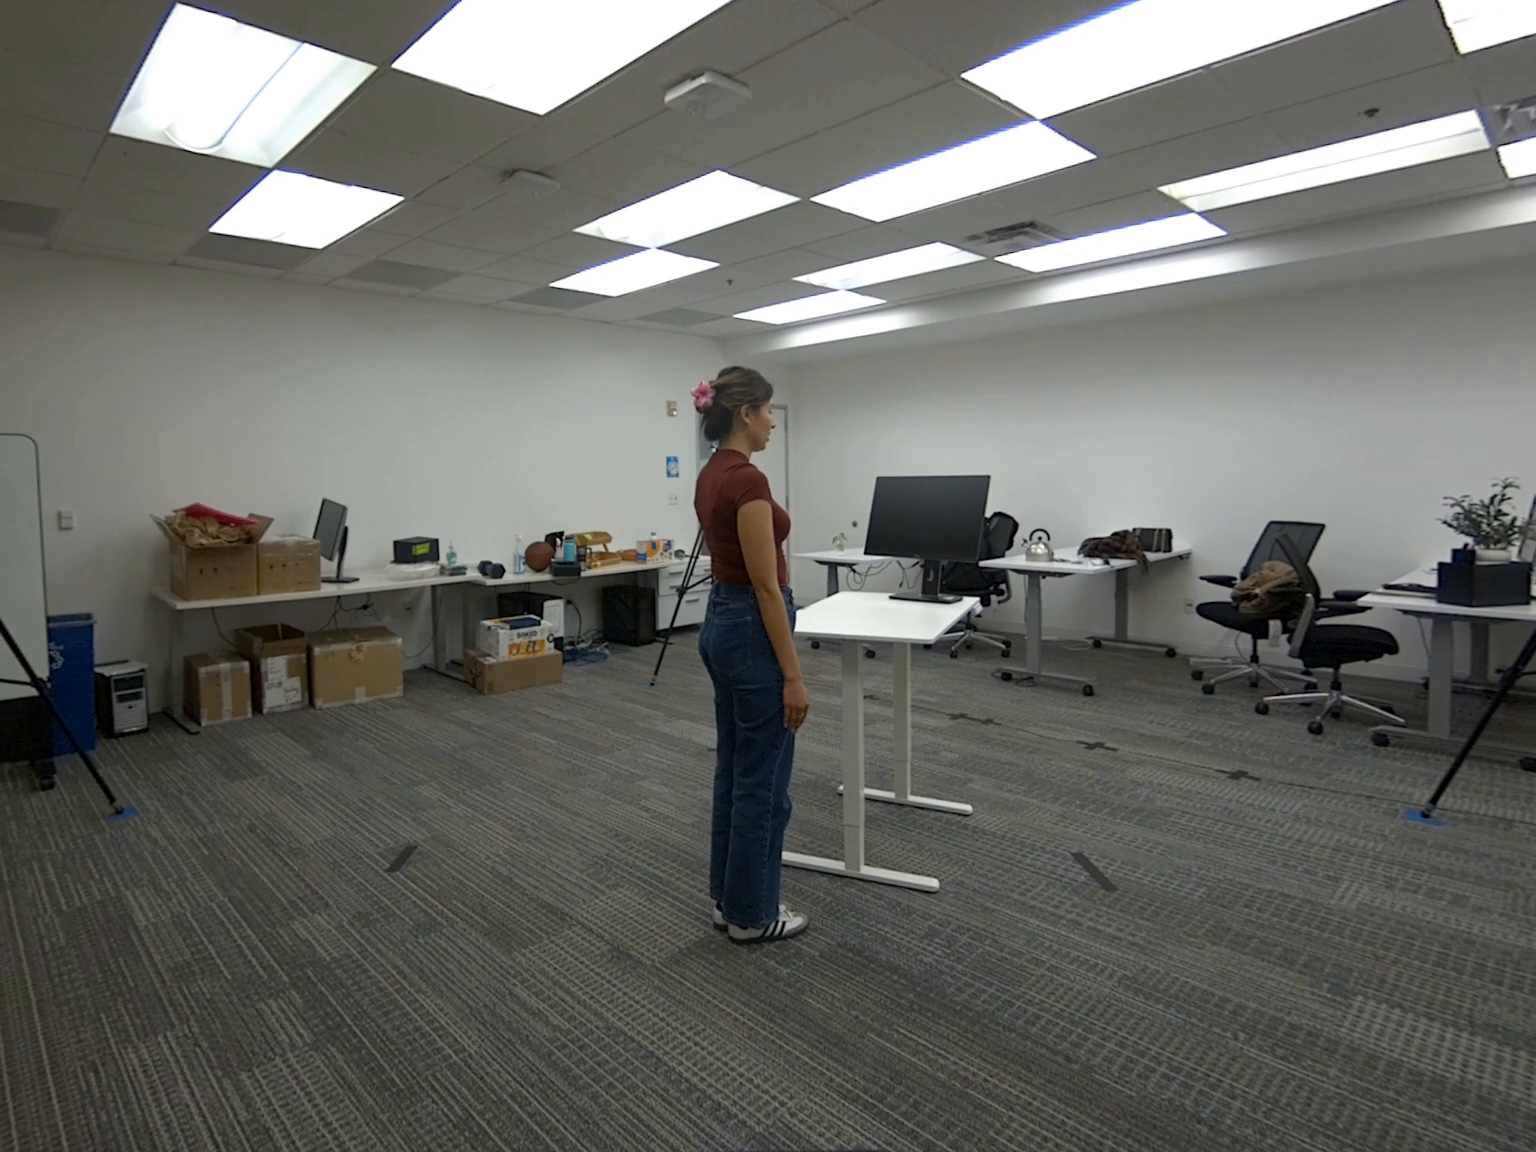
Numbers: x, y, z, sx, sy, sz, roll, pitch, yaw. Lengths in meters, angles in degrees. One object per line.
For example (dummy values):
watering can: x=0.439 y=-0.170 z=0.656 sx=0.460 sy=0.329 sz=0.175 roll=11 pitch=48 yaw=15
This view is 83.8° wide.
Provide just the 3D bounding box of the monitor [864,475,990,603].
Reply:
monitor: x=0.671 y=-0.155 z=3.568 sx=0.556 sy=0.521 sz=0.182 roll=4 pitch=3 yaw=41
